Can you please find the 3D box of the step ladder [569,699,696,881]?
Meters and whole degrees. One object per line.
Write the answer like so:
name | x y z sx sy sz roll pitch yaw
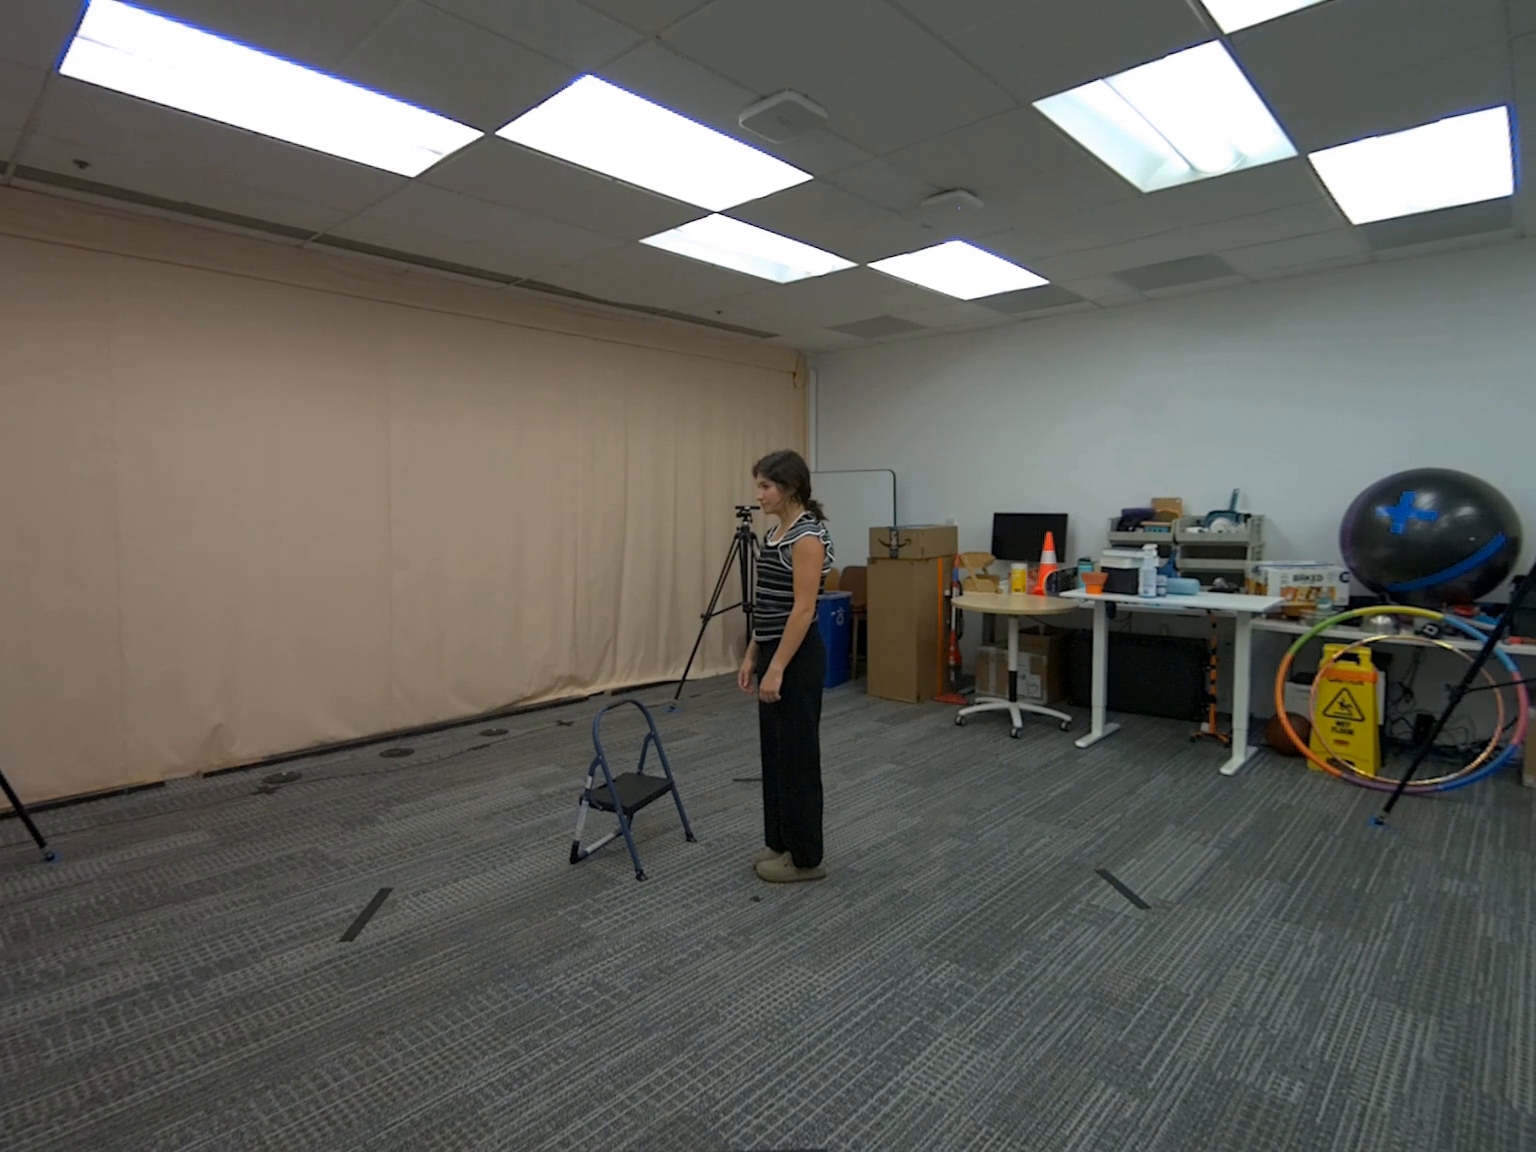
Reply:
step ladder | -0.544 0.814 3.388 0.358 0.605 0.421 1 3 25
